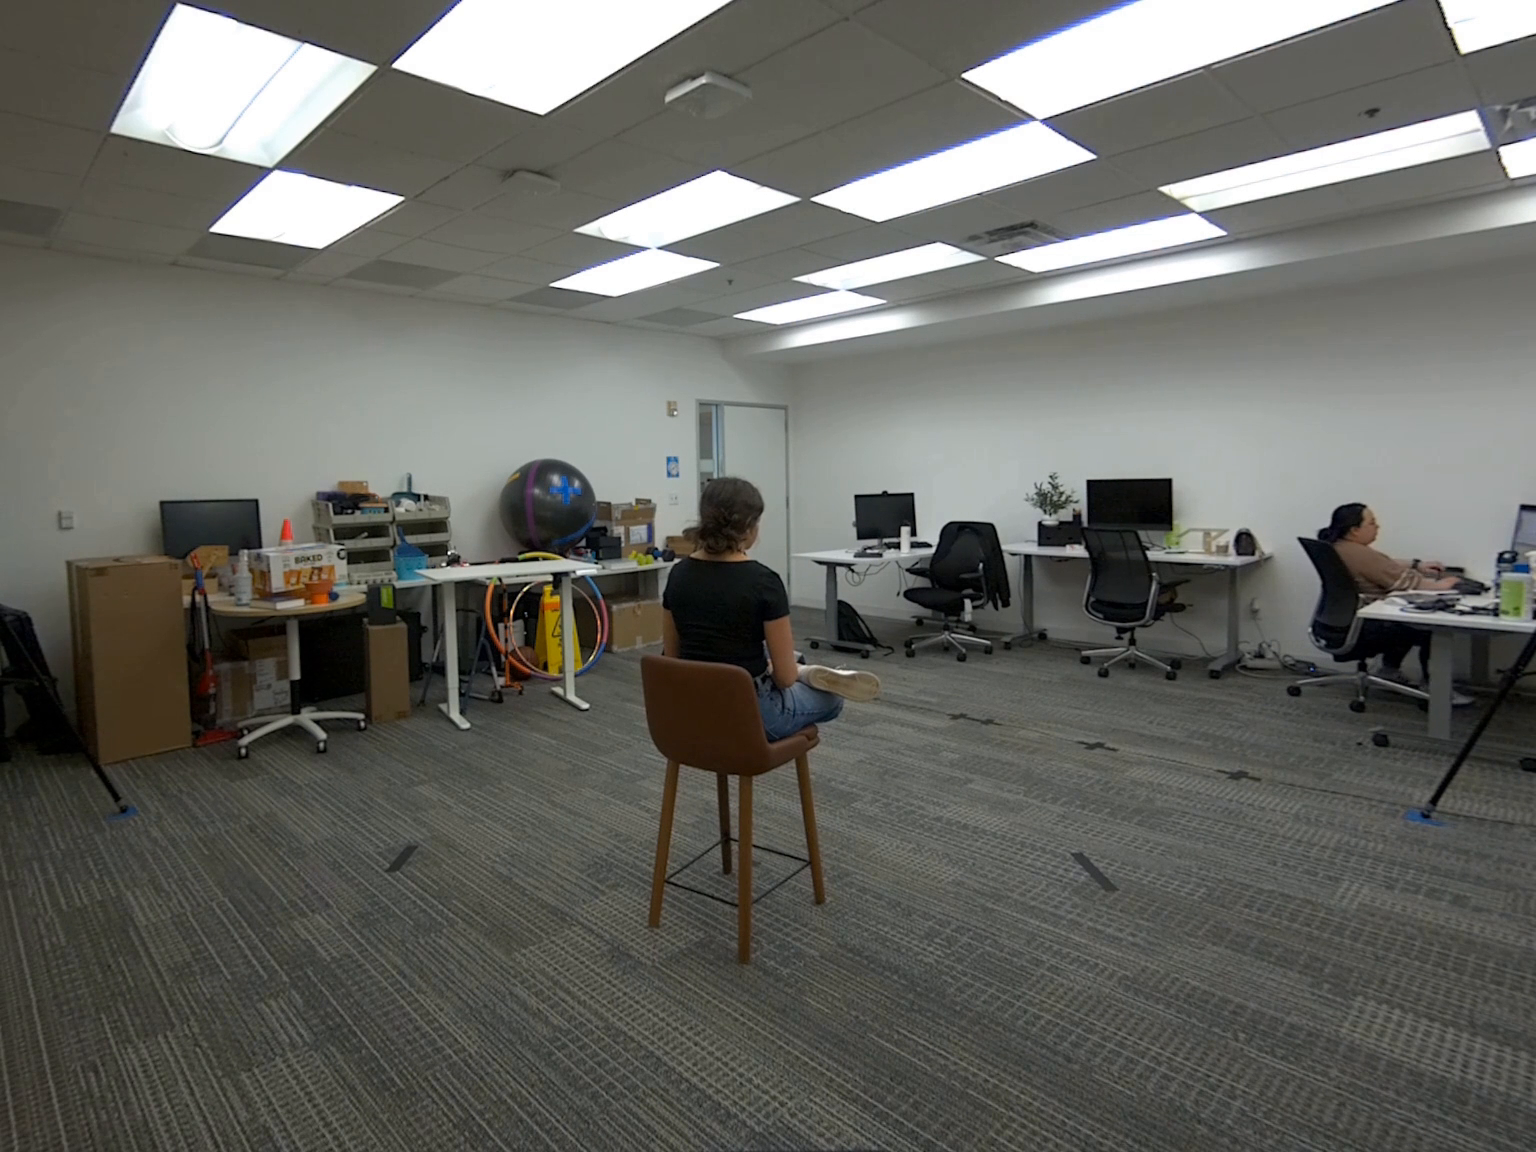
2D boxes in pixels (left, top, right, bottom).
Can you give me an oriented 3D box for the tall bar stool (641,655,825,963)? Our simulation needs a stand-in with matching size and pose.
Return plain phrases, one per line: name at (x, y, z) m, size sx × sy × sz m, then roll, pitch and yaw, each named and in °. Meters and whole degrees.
tall bar stool at (-0.113, 0.657, 2.718) m, size 0.469 × 0.885 × 0.457 m, roll 2°, pitch 7°, yaw 35°
